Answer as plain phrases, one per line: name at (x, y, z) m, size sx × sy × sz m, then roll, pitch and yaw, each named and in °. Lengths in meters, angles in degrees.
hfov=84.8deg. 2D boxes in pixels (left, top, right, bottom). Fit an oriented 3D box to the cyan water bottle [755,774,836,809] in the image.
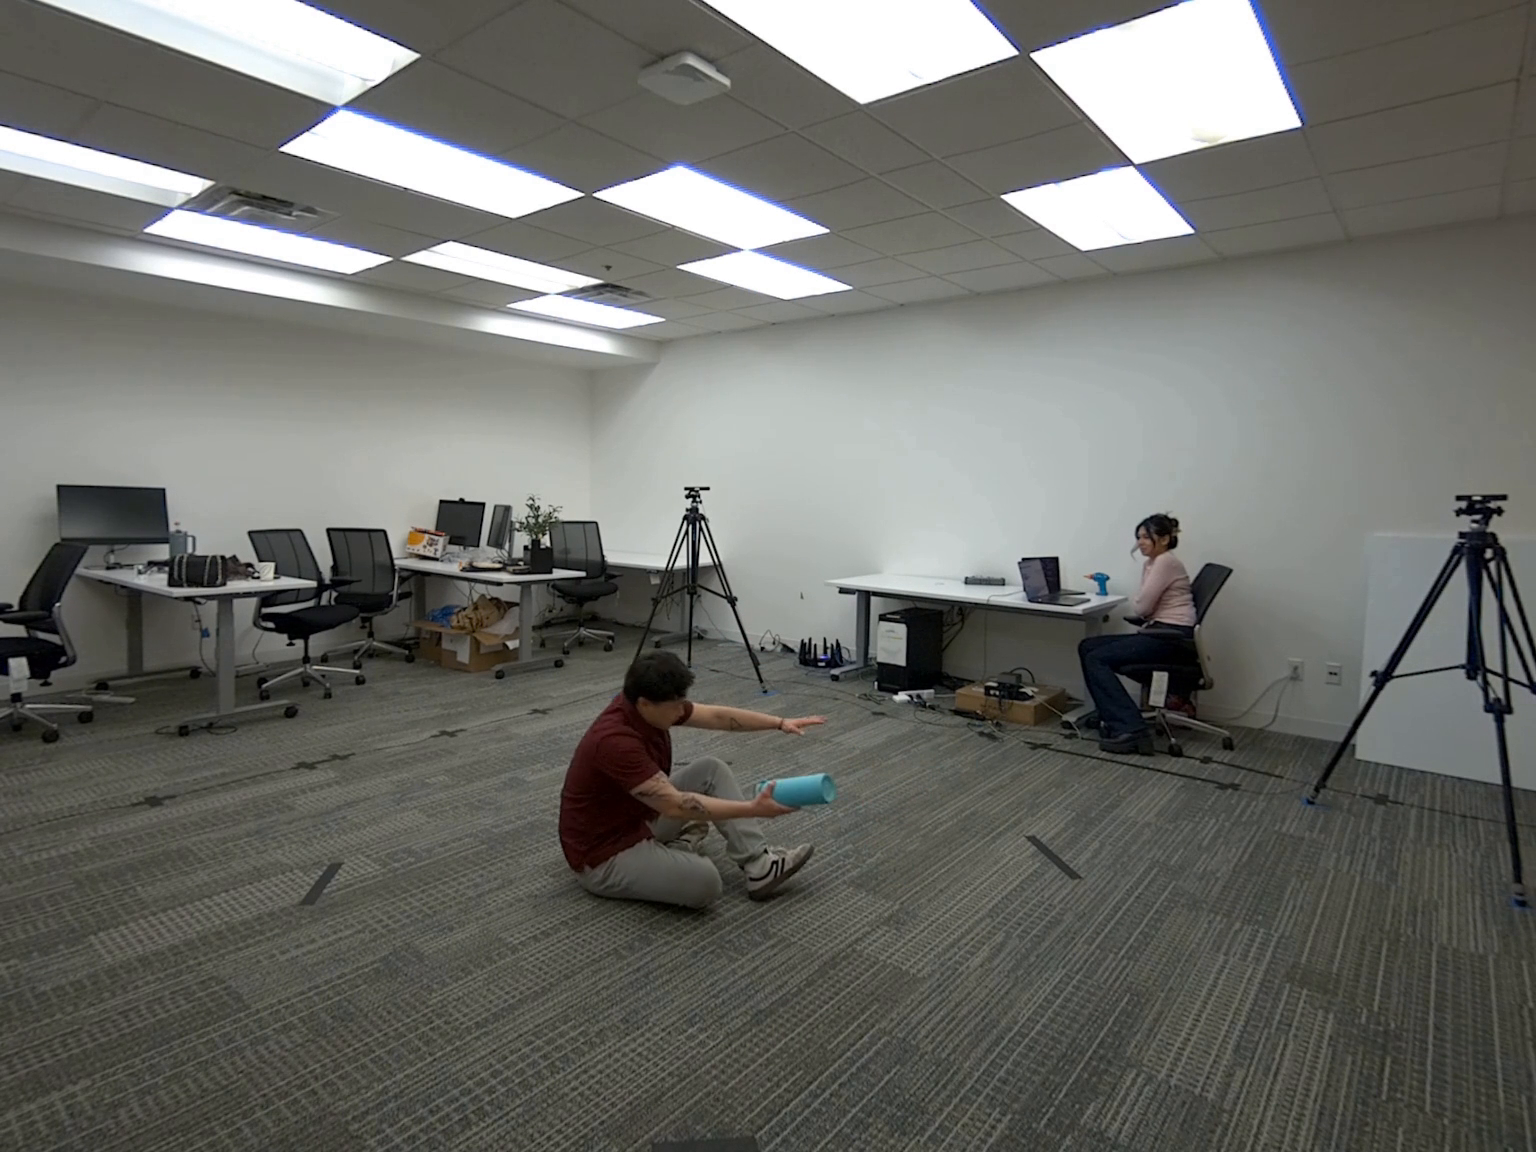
cyan water bottle at (0.069, 0.682, 2.674) m, size 0.289 × 0.093 × 0.090 m, roll -18°, pitch -7°, yaw 34°
